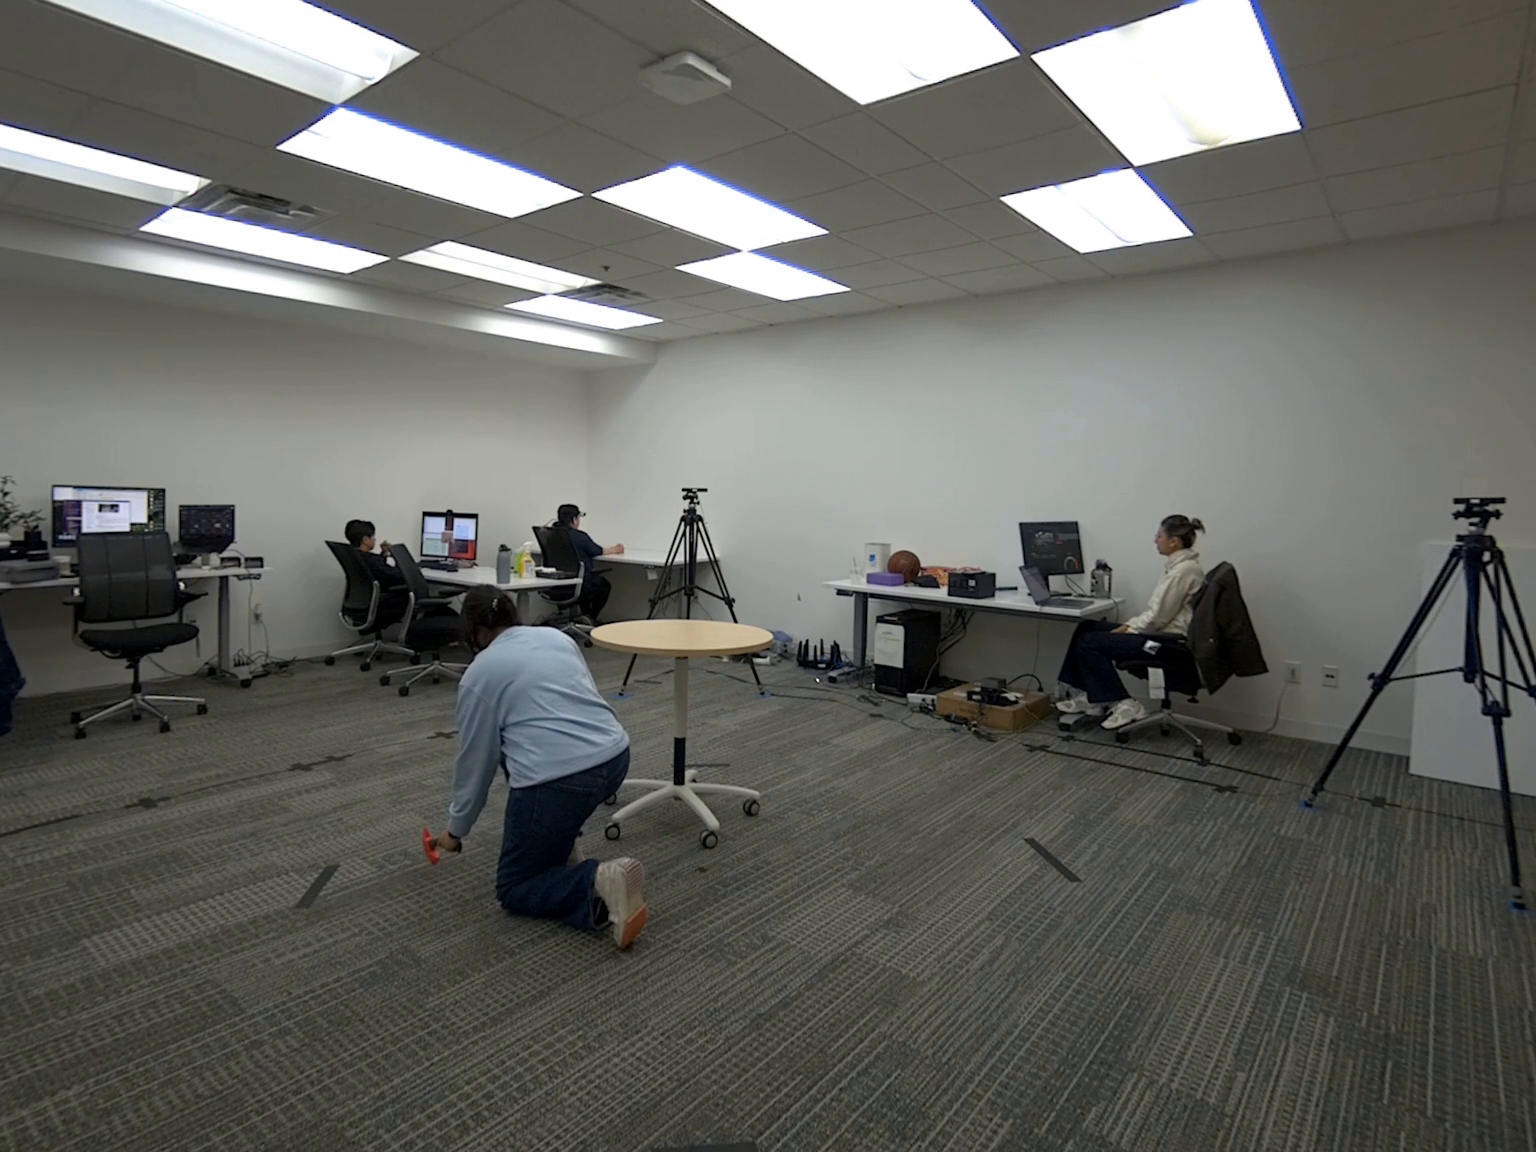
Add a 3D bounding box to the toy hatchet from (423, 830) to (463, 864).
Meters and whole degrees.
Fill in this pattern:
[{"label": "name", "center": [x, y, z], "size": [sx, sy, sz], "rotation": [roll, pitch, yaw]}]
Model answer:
[{"label": "toy hatchet", "center": [-1.169, 0.975, 3.016], "size": [0.278, 0.131, 0.029], "rotation": [-2, -1, 44]}]
